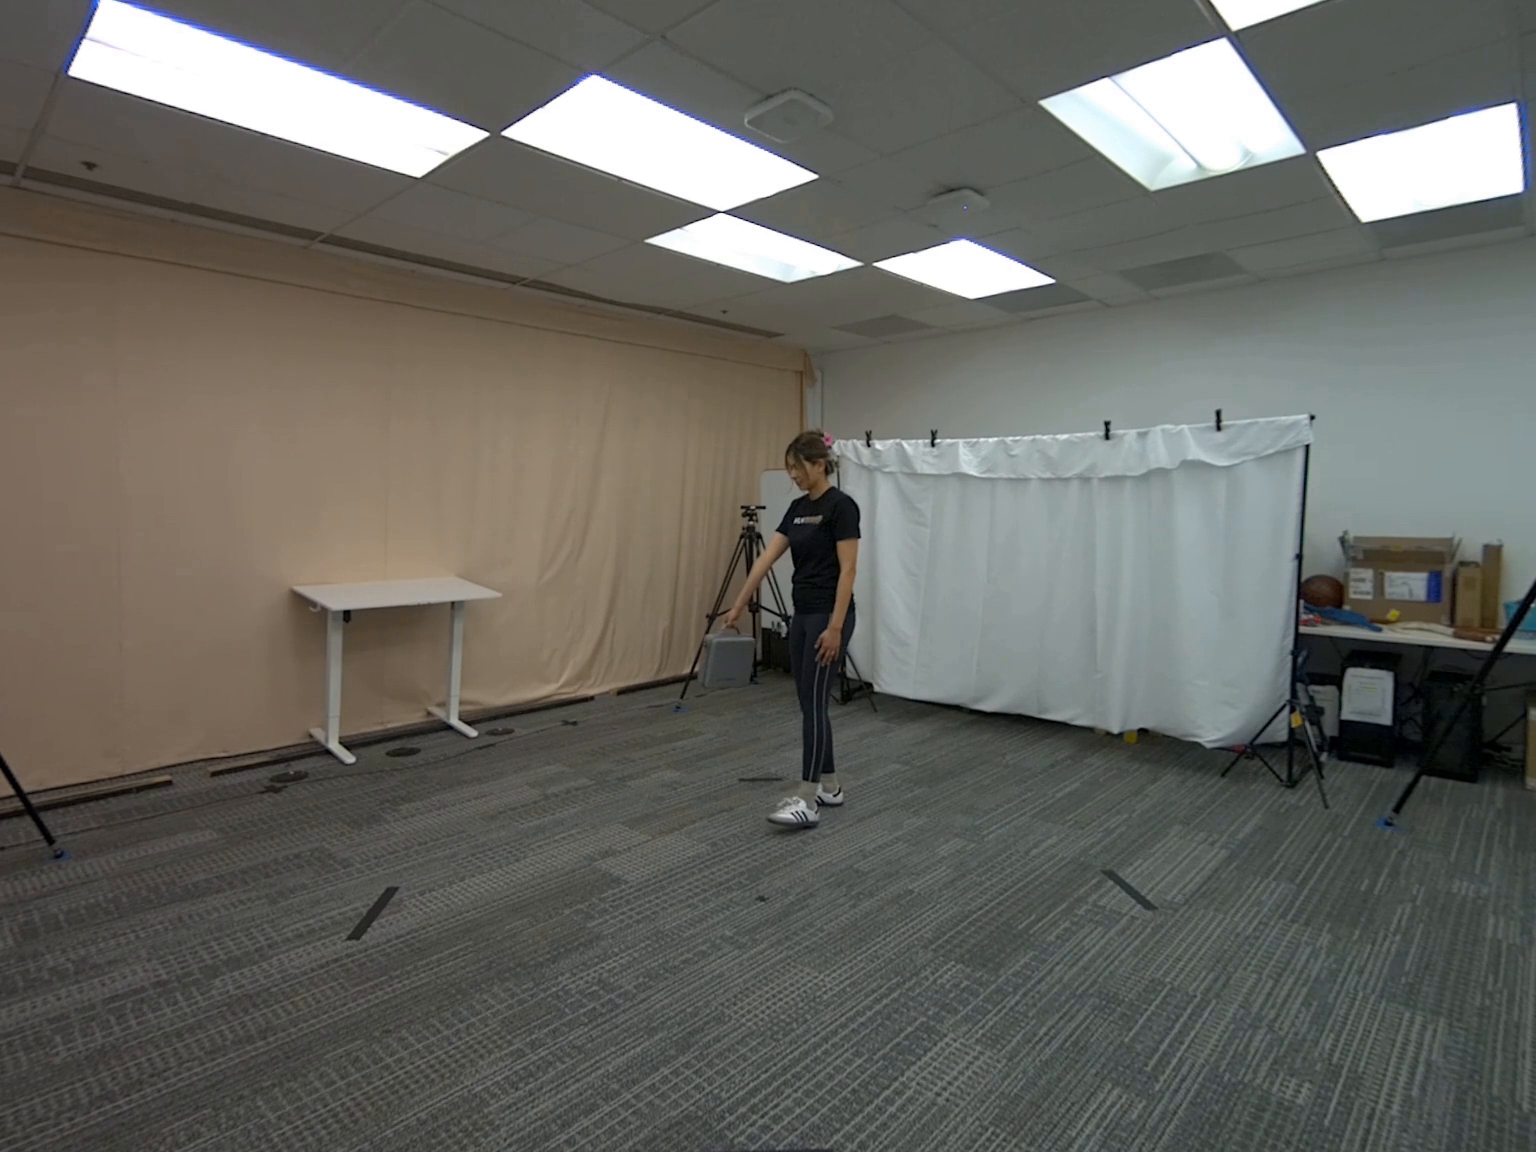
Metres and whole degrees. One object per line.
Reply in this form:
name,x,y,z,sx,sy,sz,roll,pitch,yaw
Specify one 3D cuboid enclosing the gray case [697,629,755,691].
gray case,-0.195,0.396,3.998,0.249,0.259,0.108,4,10,-34
